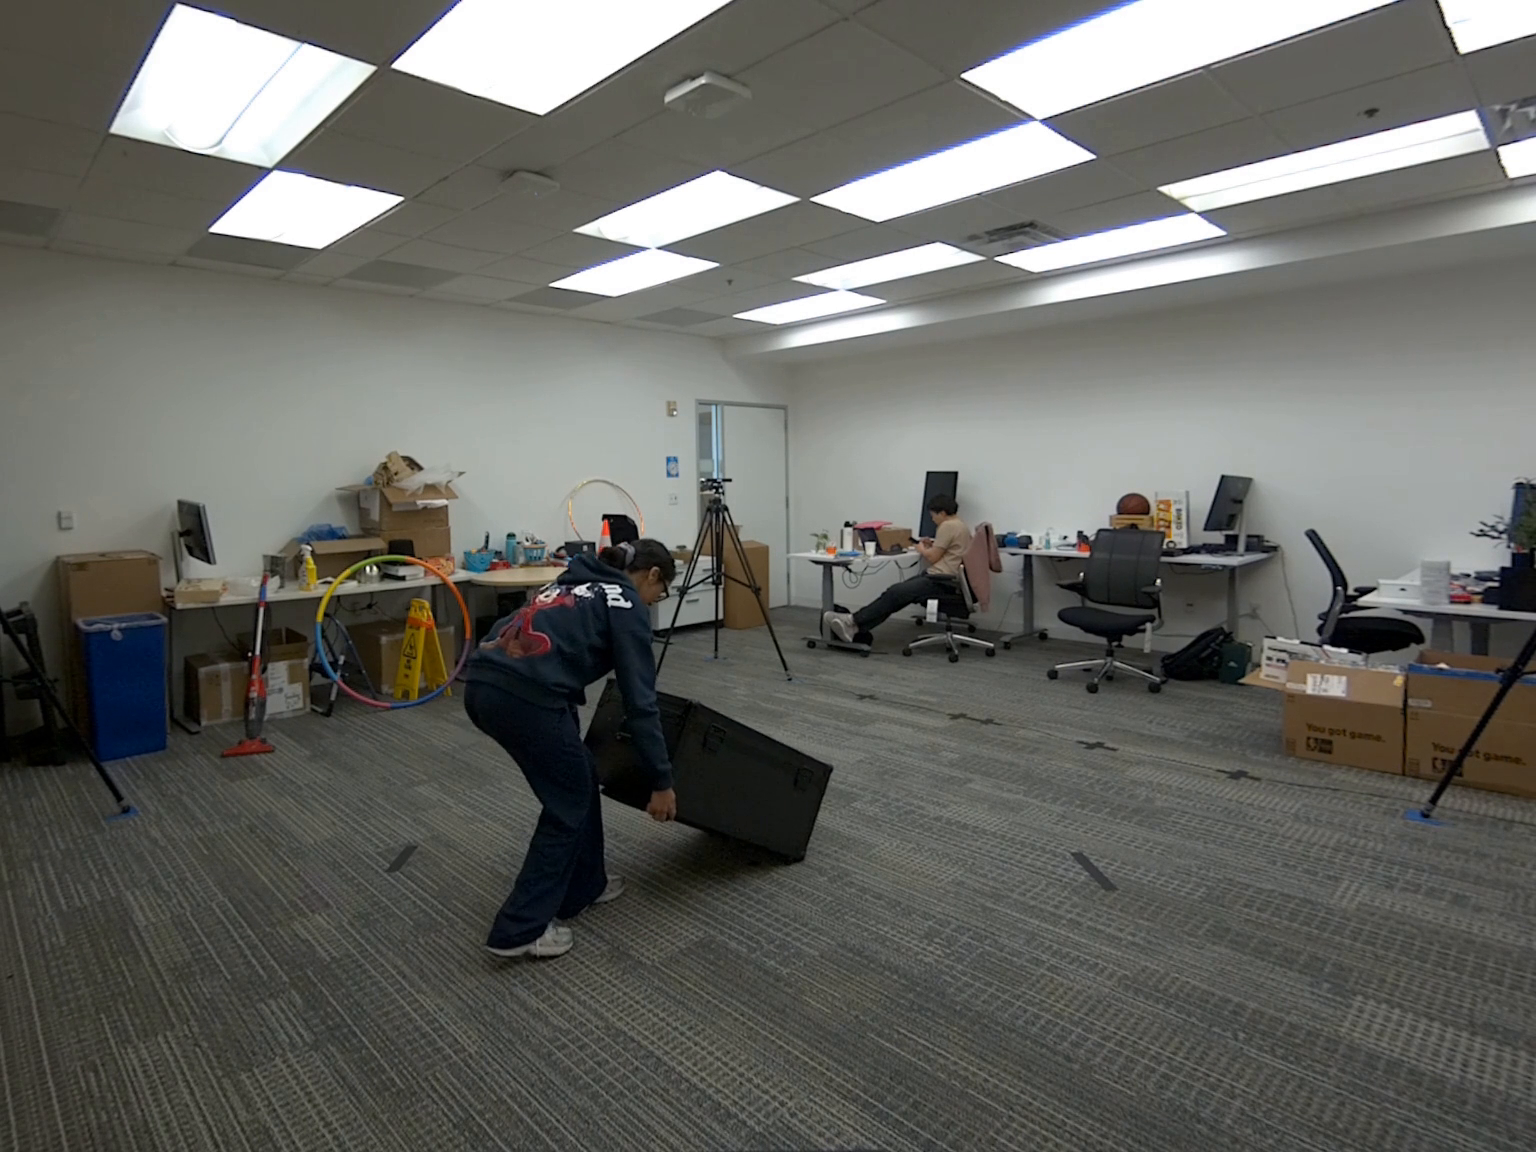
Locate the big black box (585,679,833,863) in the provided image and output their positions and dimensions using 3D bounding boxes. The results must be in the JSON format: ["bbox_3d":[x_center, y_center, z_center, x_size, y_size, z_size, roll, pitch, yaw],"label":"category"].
[{"bbox_3d":[-0.198,0.726,3.117,0.537,0.399,0.829,4,-22,46],"label":"big black box"}]
